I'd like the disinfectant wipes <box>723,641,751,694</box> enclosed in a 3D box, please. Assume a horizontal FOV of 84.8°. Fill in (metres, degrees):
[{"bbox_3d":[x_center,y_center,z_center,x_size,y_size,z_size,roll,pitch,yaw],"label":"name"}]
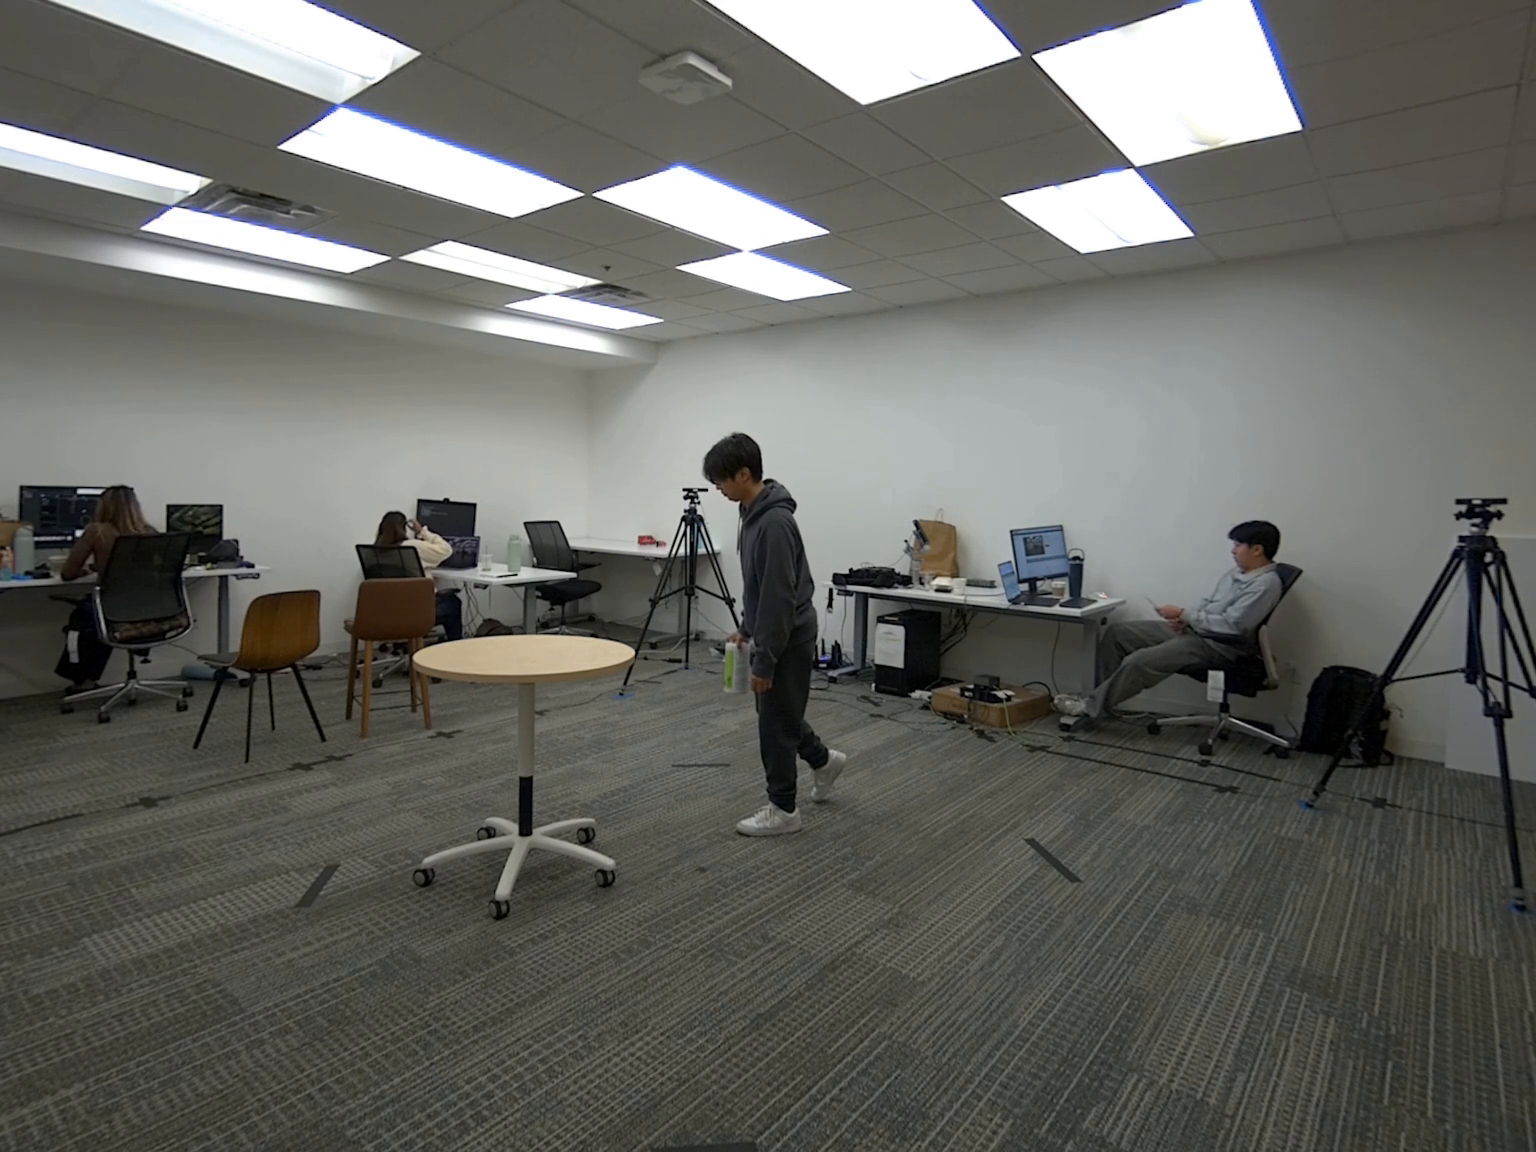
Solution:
[{"bbox_3d":[-0.145,0.402,3.751,0.118,0.217,0.118,1,1,-2],"label":"disinfectant wipes"}]
